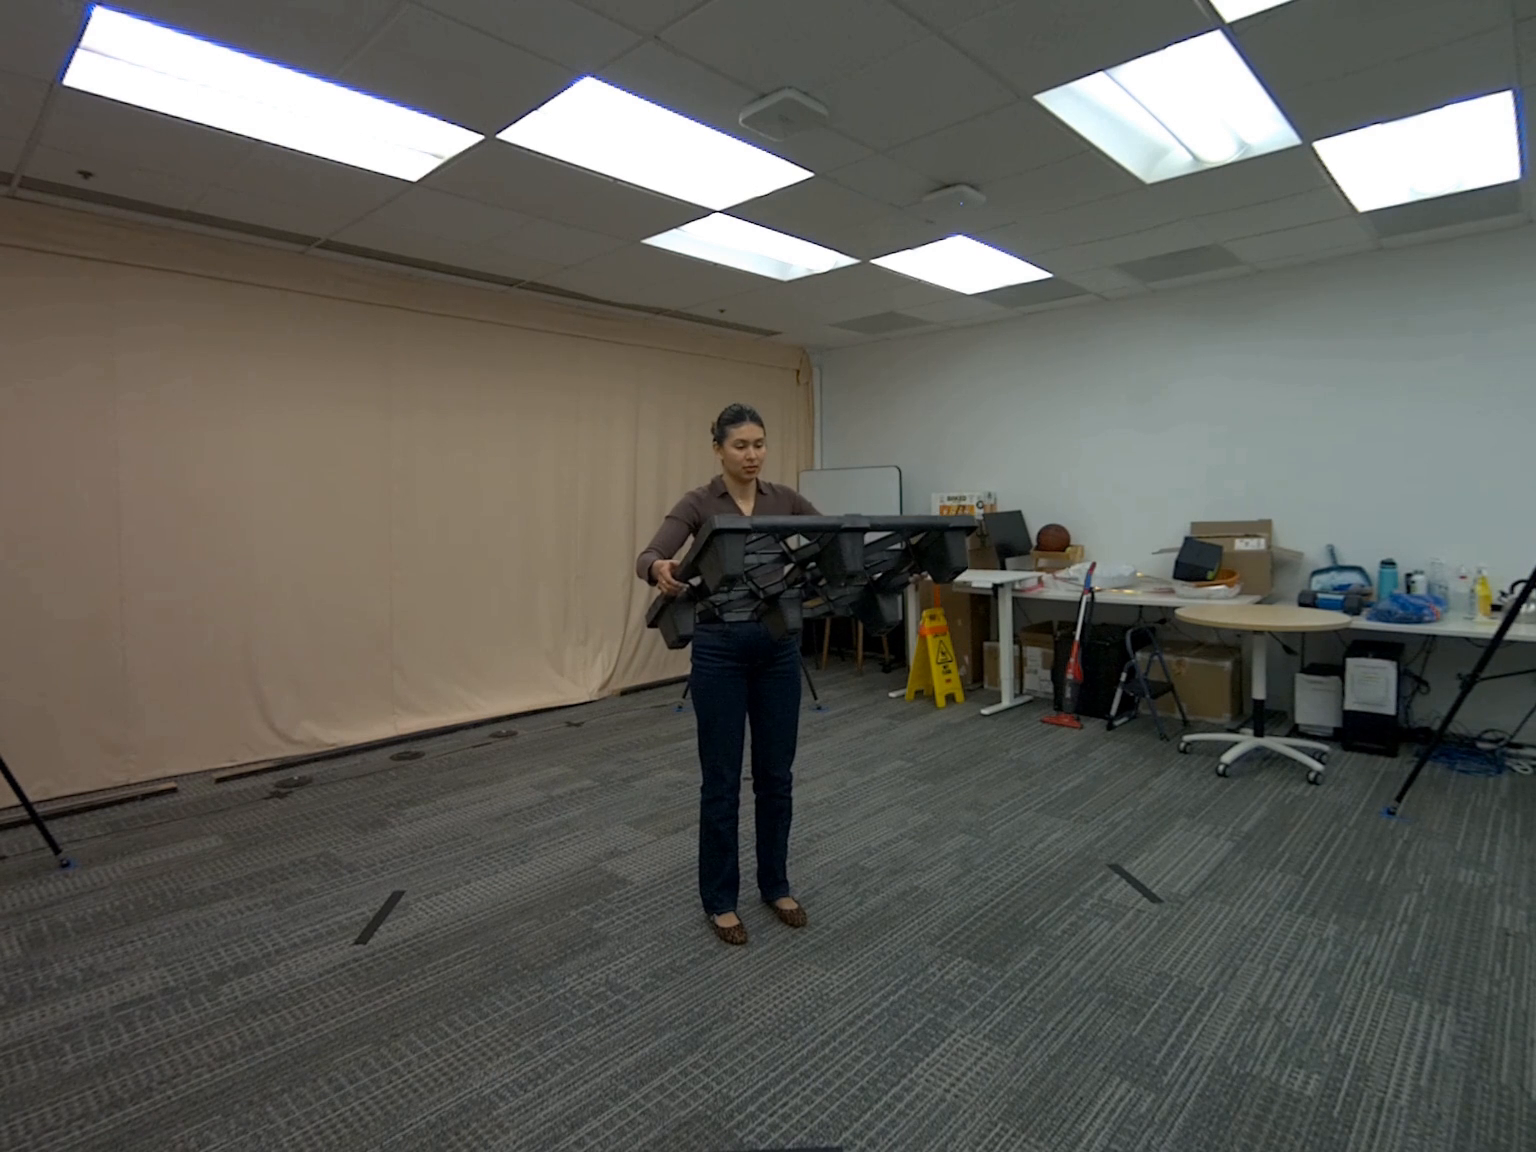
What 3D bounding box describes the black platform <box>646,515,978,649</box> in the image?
[{"bbox_3d":[0.117,0.036,2.372,0.787,0.146,0.607,-2,-26,-25],"label":"black platform"}]
